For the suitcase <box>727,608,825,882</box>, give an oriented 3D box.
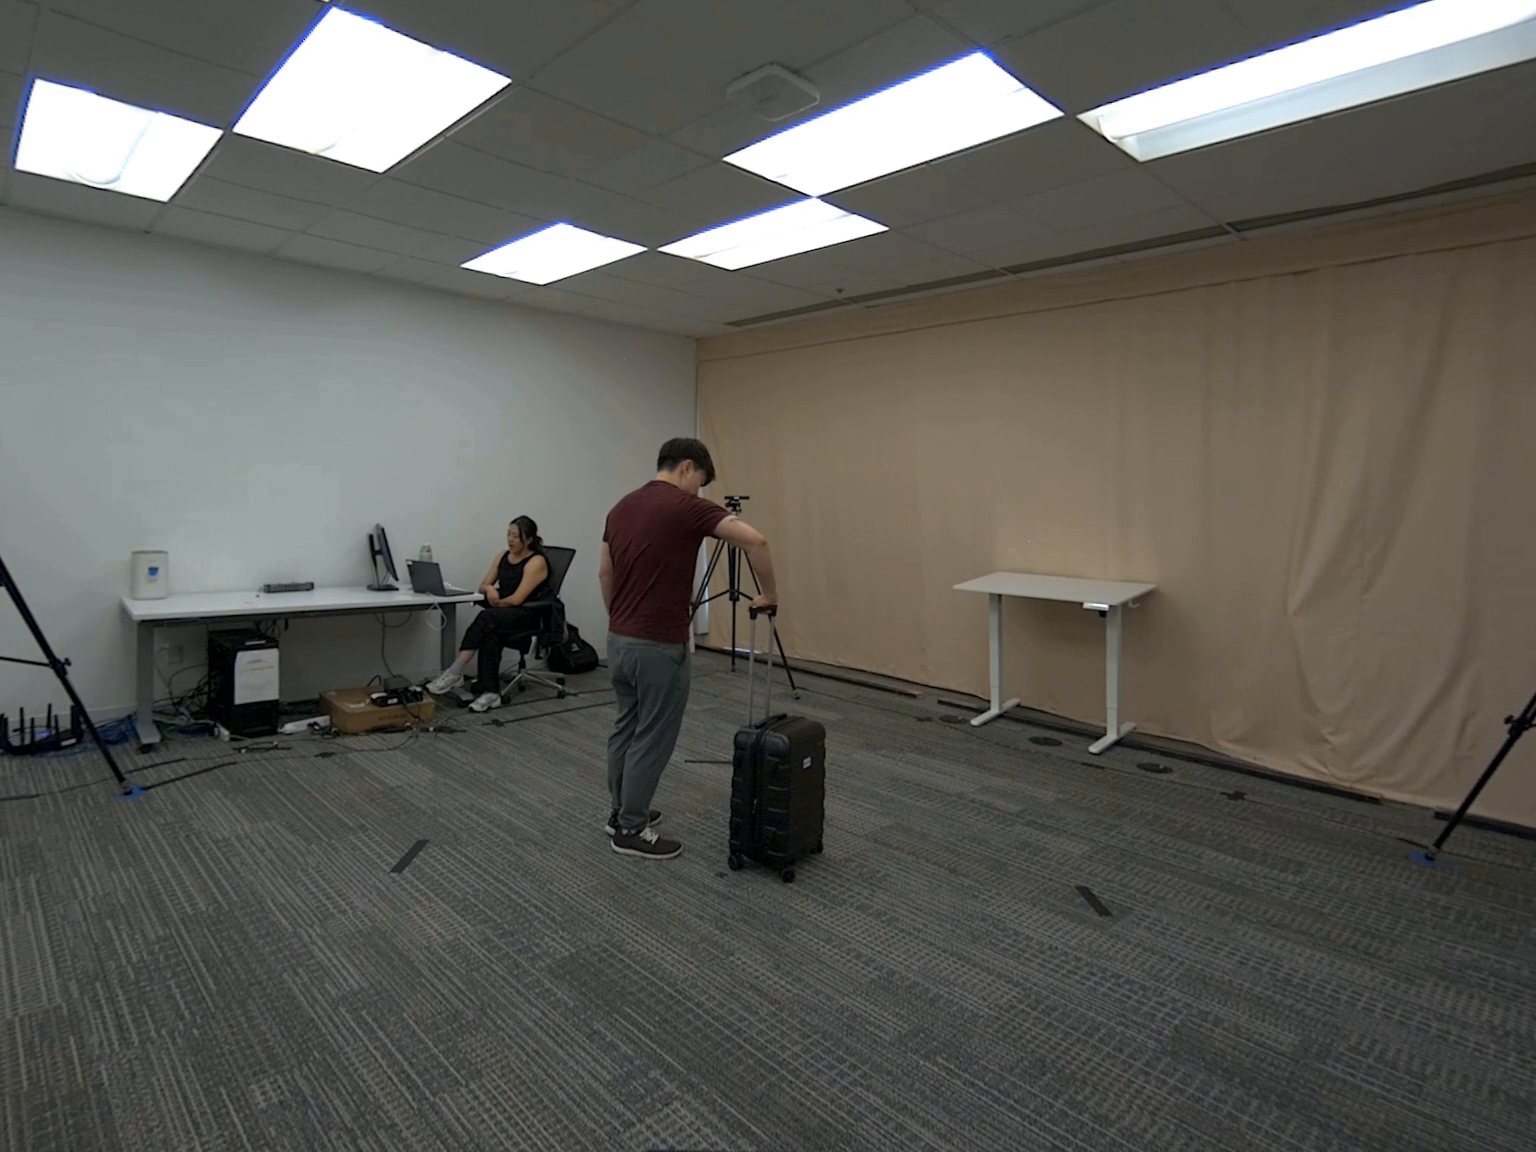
[{"bbox_3d":[0.051,0.623,3.216,0.263,0.977,0.375,6,3,33],"label":"suitcase"}]
